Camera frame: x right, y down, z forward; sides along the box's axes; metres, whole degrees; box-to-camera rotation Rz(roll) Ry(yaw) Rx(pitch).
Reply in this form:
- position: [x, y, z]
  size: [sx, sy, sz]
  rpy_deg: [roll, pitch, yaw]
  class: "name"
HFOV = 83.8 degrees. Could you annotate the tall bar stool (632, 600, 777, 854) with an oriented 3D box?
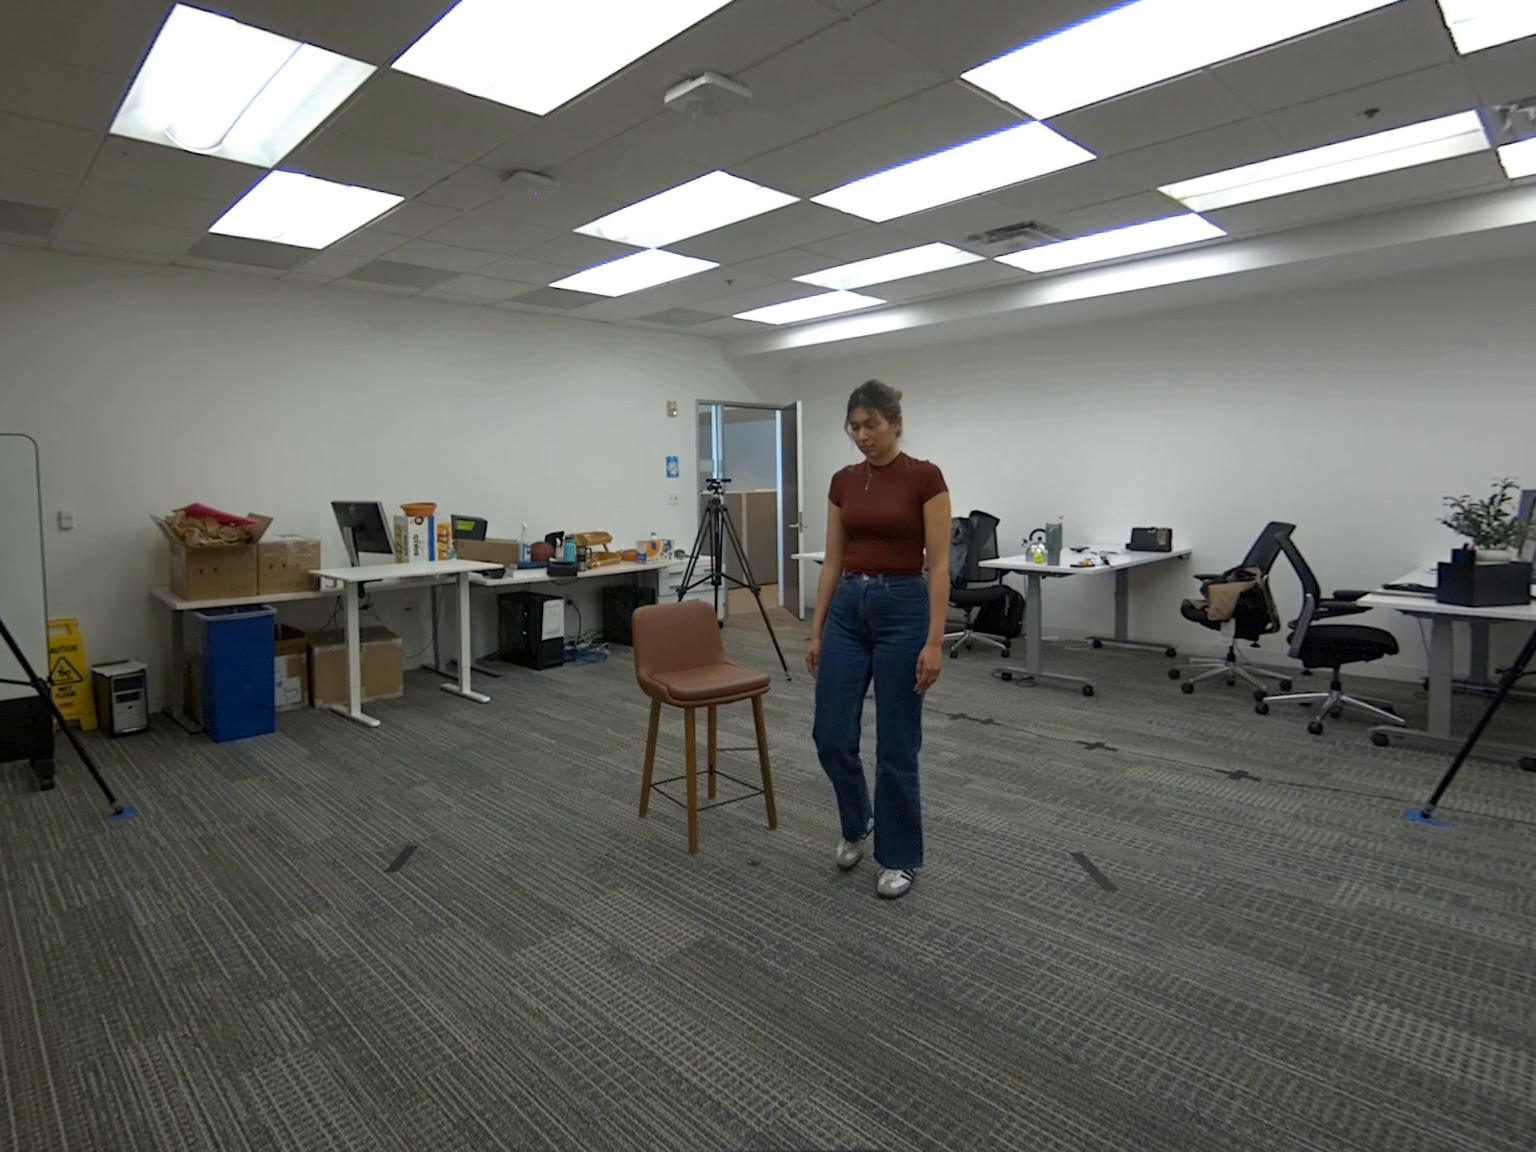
- position: [-0.268, 0.574, 3.468]
  size: [0.445, 0.888, 0.481]
  rpy_deg: [-3, 3, -36]
  class: "tall bar stool"
